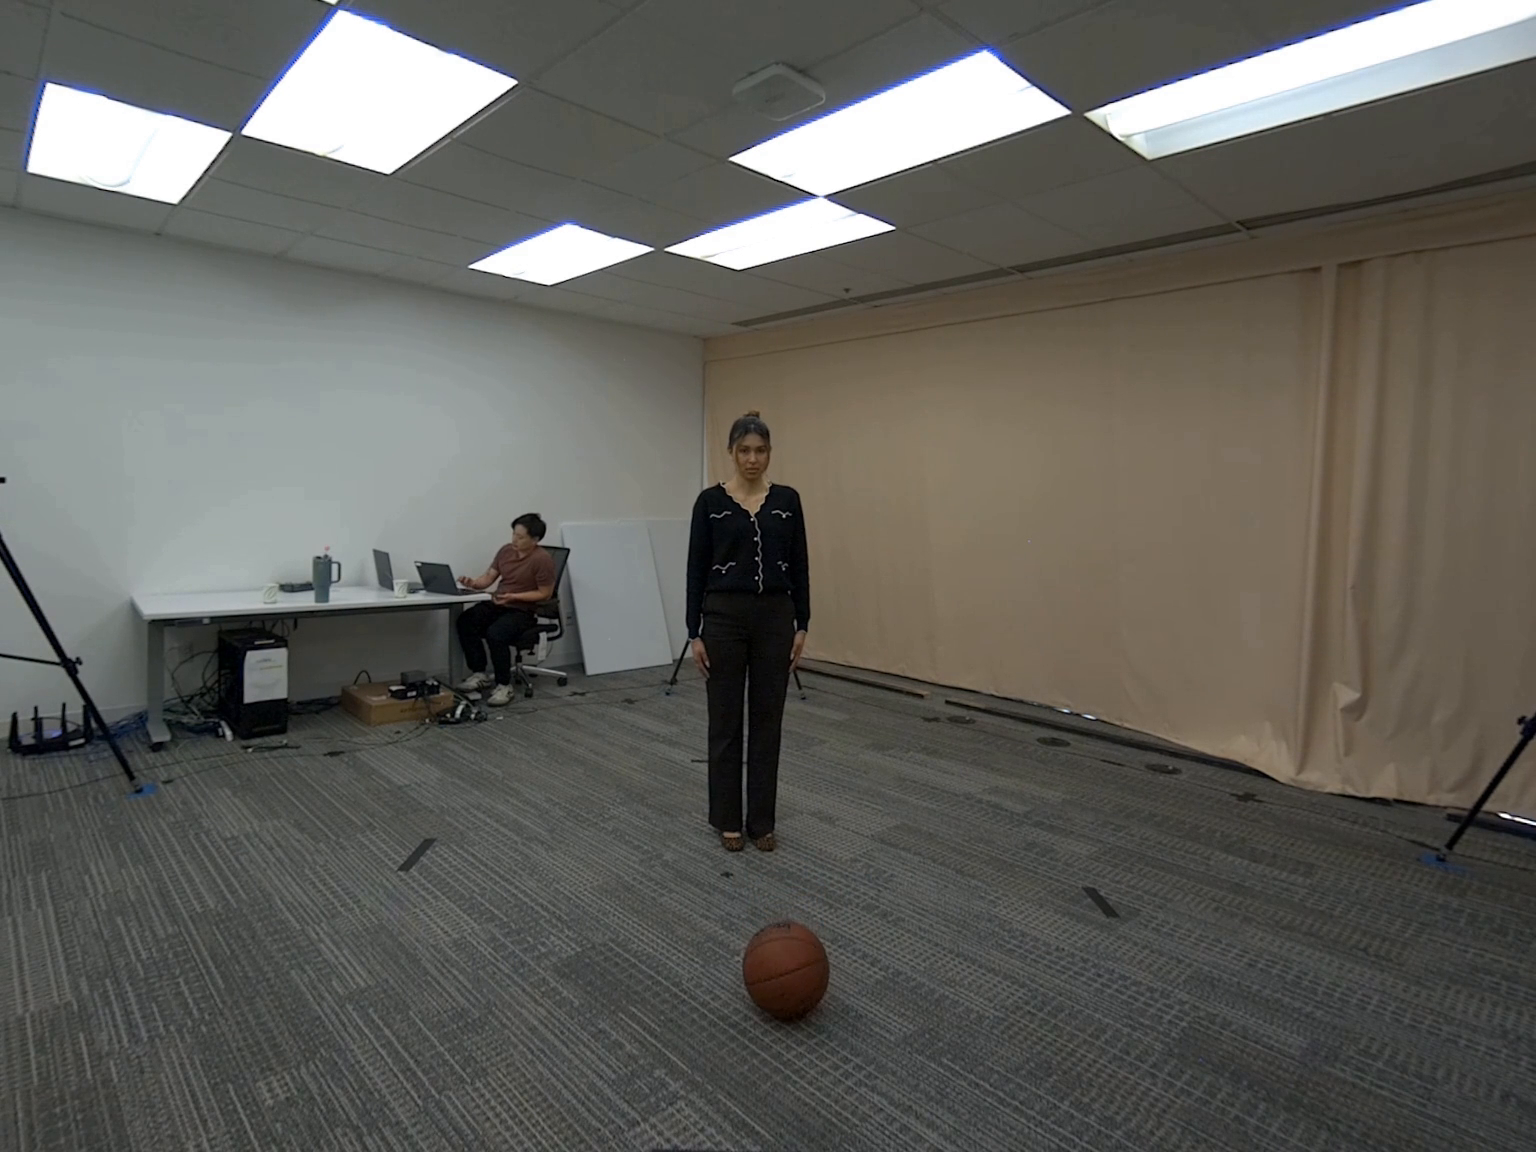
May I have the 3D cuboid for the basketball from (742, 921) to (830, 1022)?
[{"bbox_3d":[0.039,1.065,2.277,0.236,0.235,0.237,1,4,-1],"label":"basketball"}]
